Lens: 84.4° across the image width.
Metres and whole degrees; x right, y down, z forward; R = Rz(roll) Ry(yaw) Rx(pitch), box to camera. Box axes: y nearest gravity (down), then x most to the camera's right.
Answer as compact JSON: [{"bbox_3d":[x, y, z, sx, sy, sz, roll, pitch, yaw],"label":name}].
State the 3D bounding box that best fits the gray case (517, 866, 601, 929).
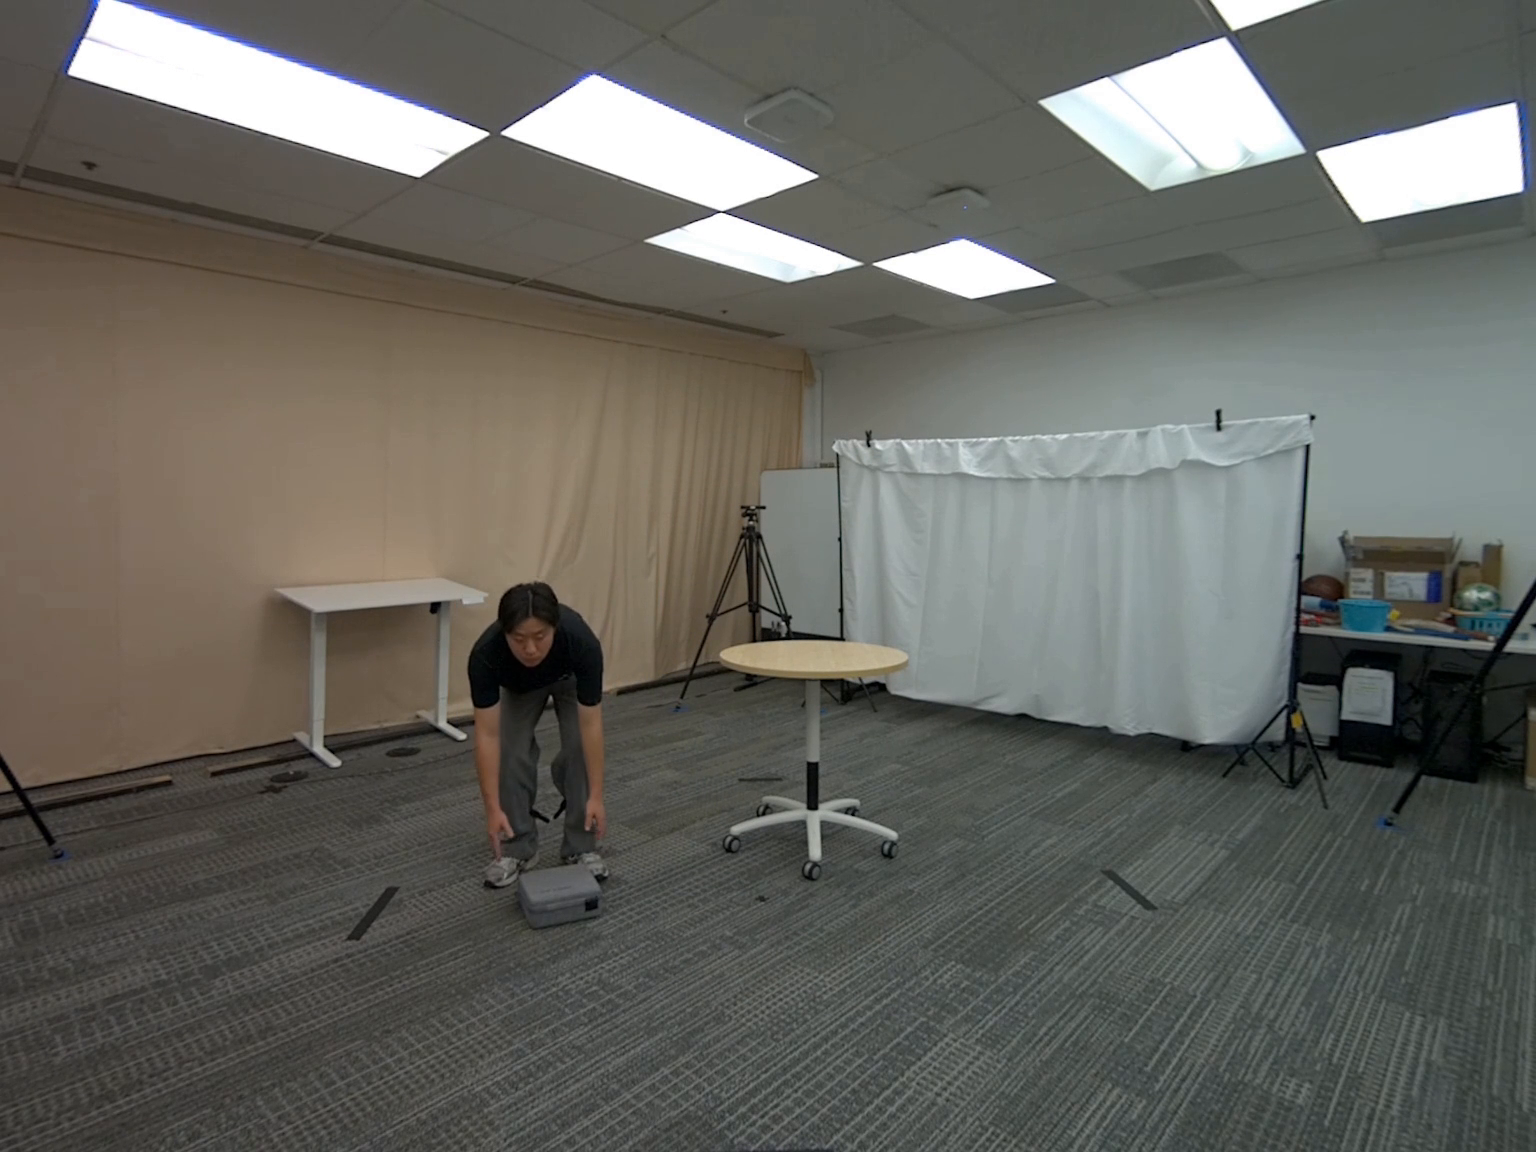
[{"bbox_3d":[-0.725,1.095,2.928,0.257,0.103,0.294,-1,3,-25],"label":"gray case"}]
